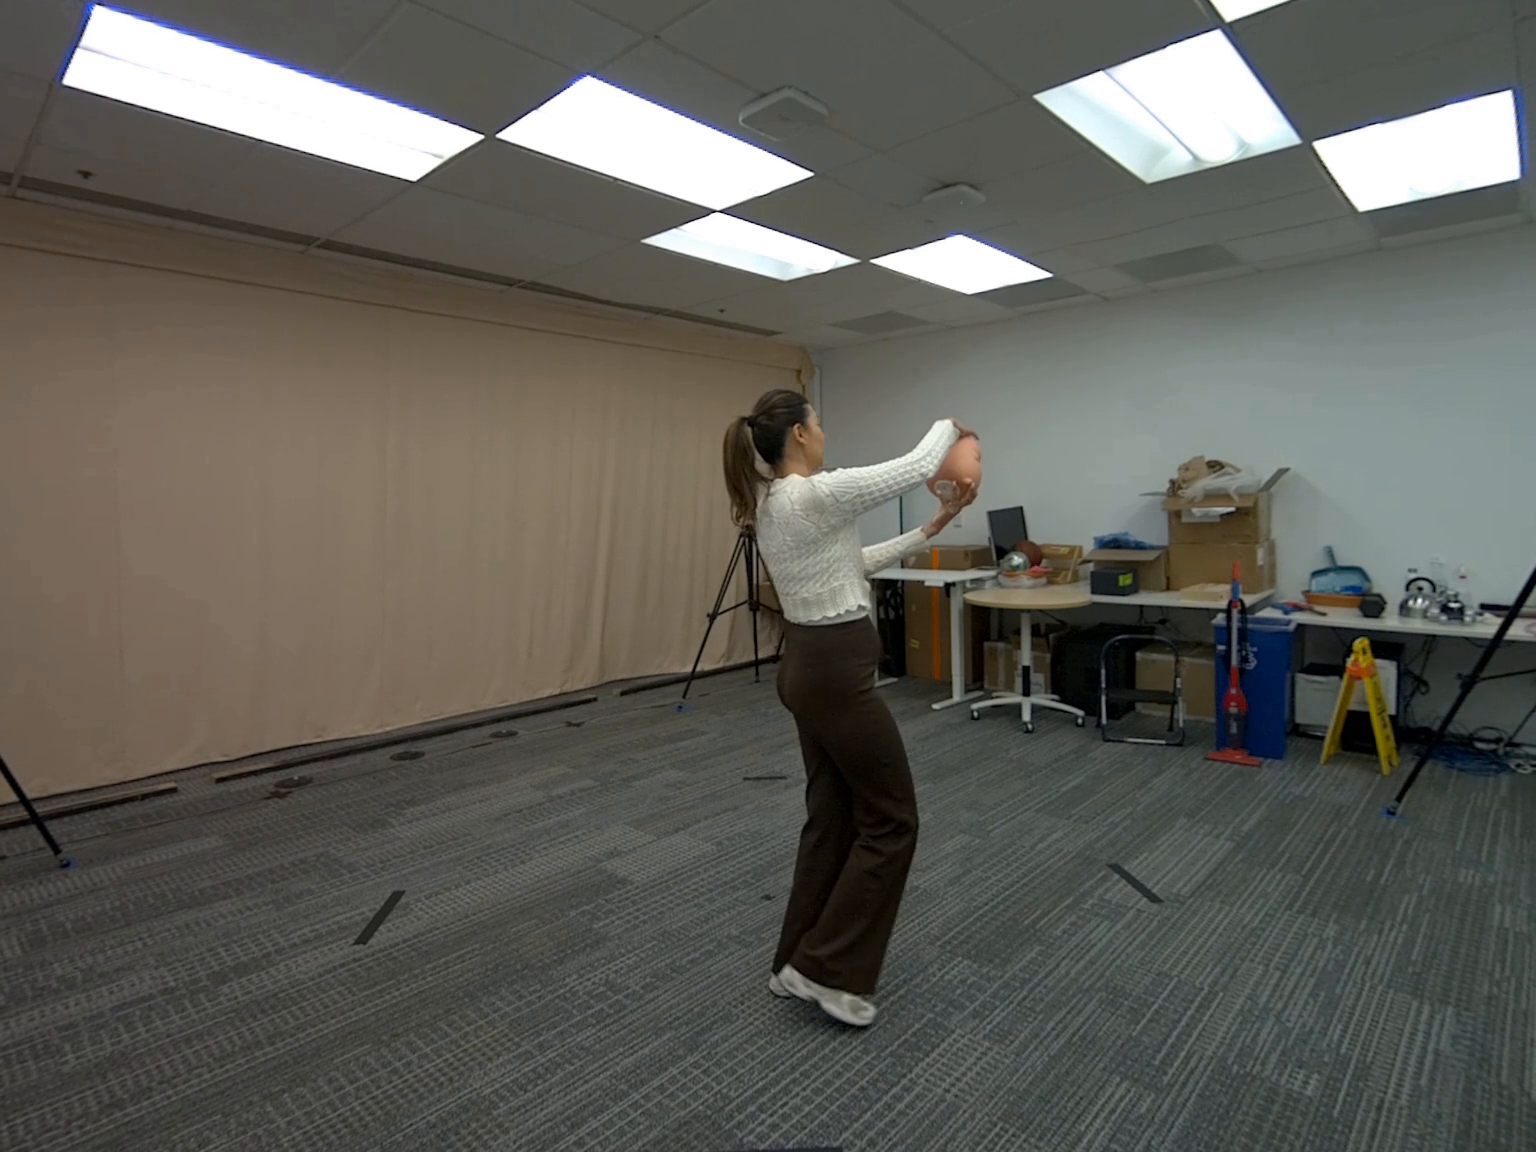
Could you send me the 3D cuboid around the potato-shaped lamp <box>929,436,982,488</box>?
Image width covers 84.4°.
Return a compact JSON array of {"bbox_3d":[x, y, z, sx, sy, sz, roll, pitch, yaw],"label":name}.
[{"bbox_3d":[0.564,-0.336,2.490,0.167,0.199,0.168,10,-22,10],"label":"potato-shaped lamp"}]
